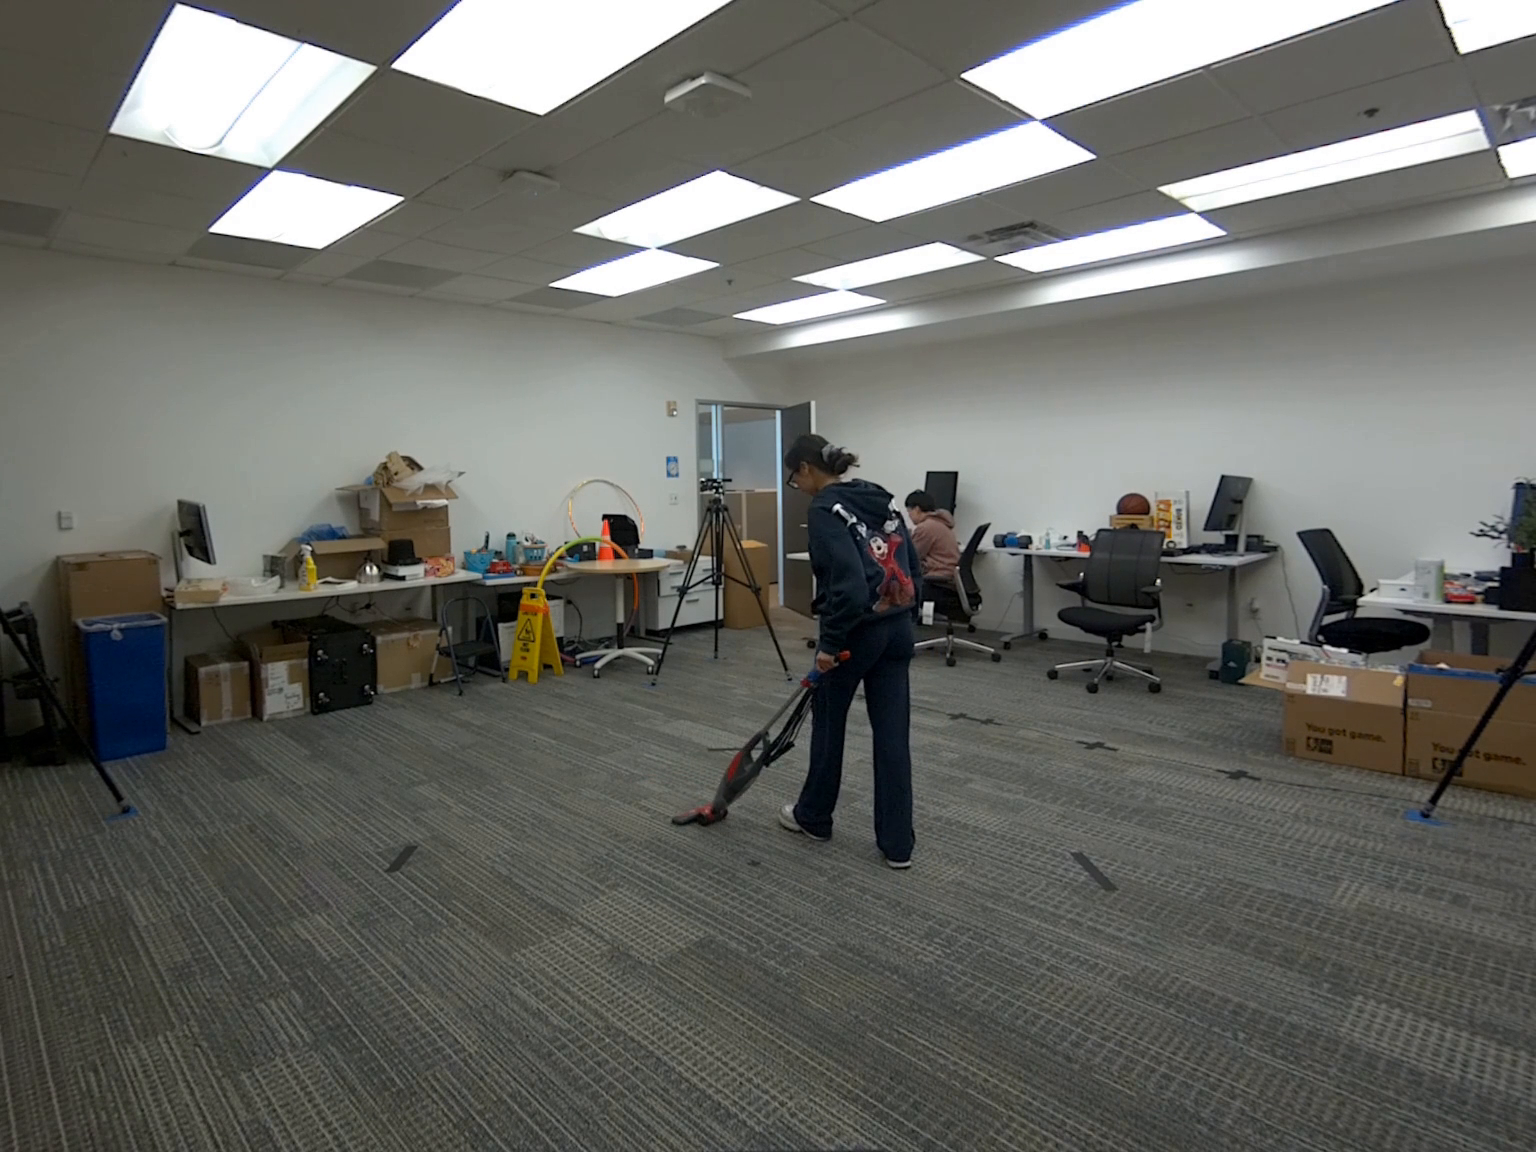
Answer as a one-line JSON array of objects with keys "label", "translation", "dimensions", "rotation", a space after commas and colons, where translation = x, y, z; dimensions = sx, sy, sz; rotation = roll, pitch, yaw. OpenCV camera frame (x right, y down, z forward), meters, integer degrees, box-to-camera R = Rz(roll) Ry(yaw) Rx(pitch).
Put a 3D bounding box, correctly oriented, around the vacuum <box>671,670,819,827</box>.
[{"label": "vacuum", "translation": [-0.013, 0.642, 3.267], "dimensions": [1.045, 0.147, 0.249], "rotation": [-52, -14, 32]}]
